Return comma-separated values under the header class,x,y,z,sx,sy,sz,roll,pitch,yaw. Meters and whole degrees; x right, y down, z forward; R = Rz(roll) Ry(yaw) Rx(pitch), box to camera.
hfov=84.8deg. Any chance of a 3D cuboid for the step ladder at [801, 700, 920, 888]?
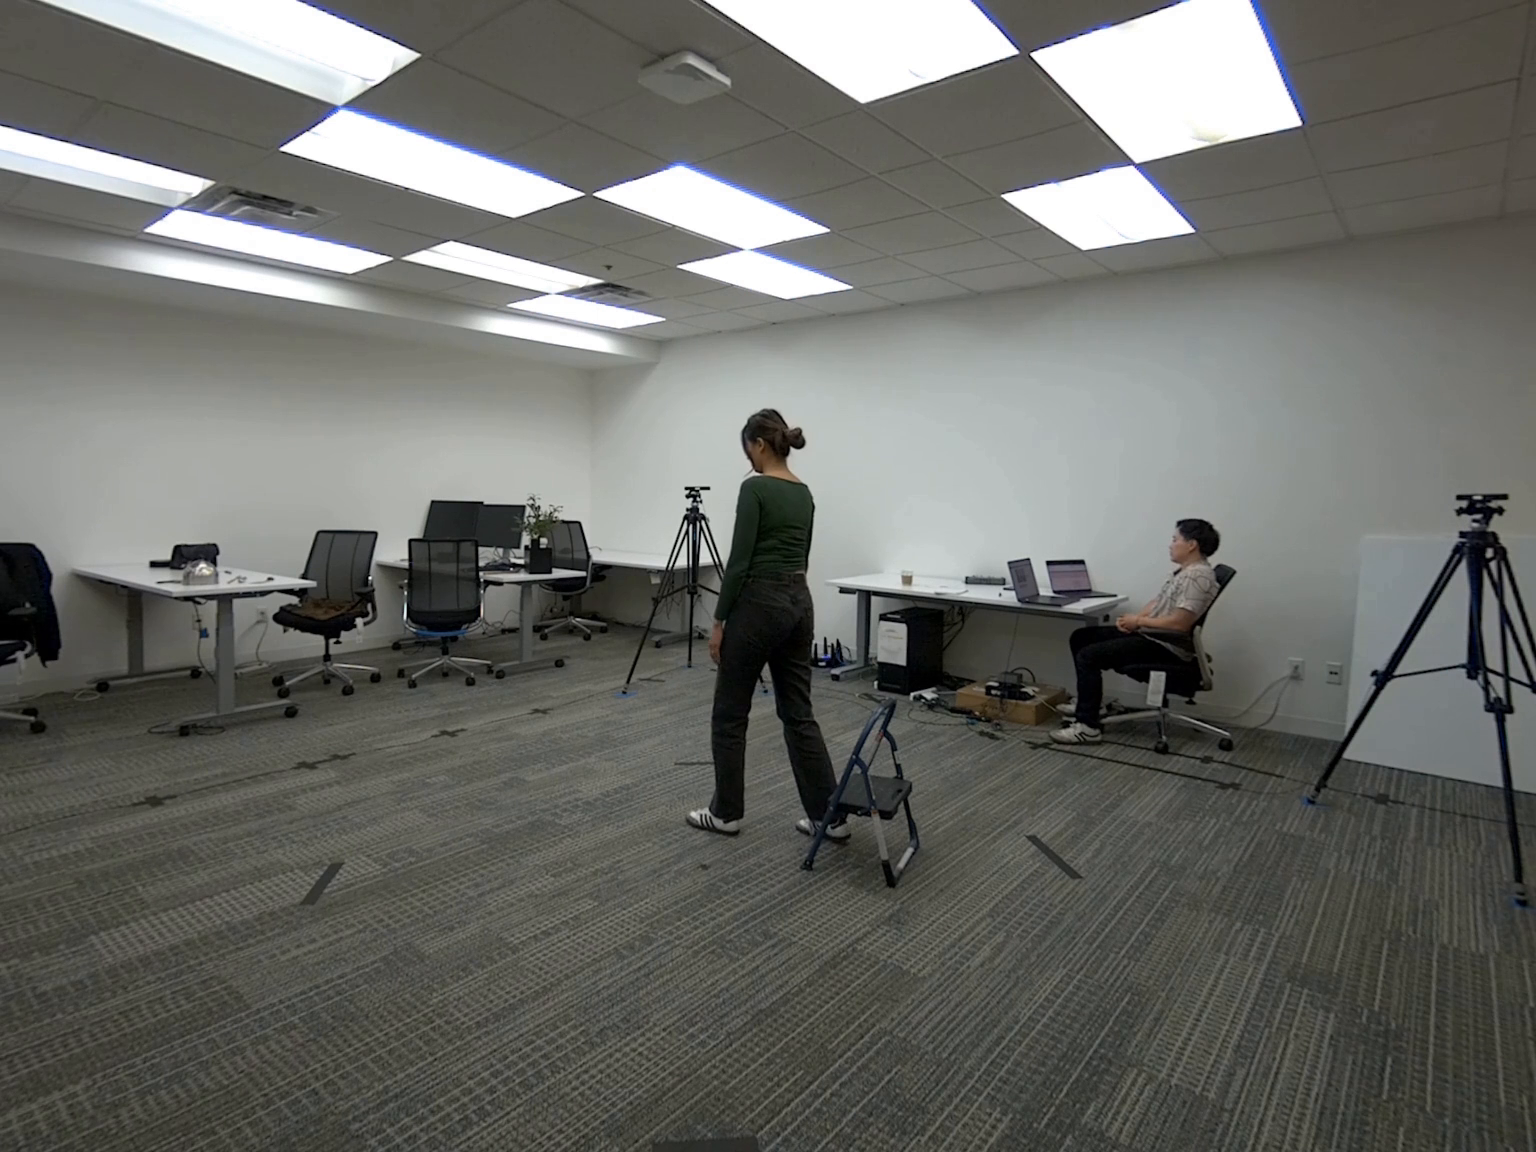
class,x,y,z,sx,sy,sz,roll,pitch,yaw
step ladder,0.357,0.761,3.215,0.358,0.604,0.422,2,4,23
